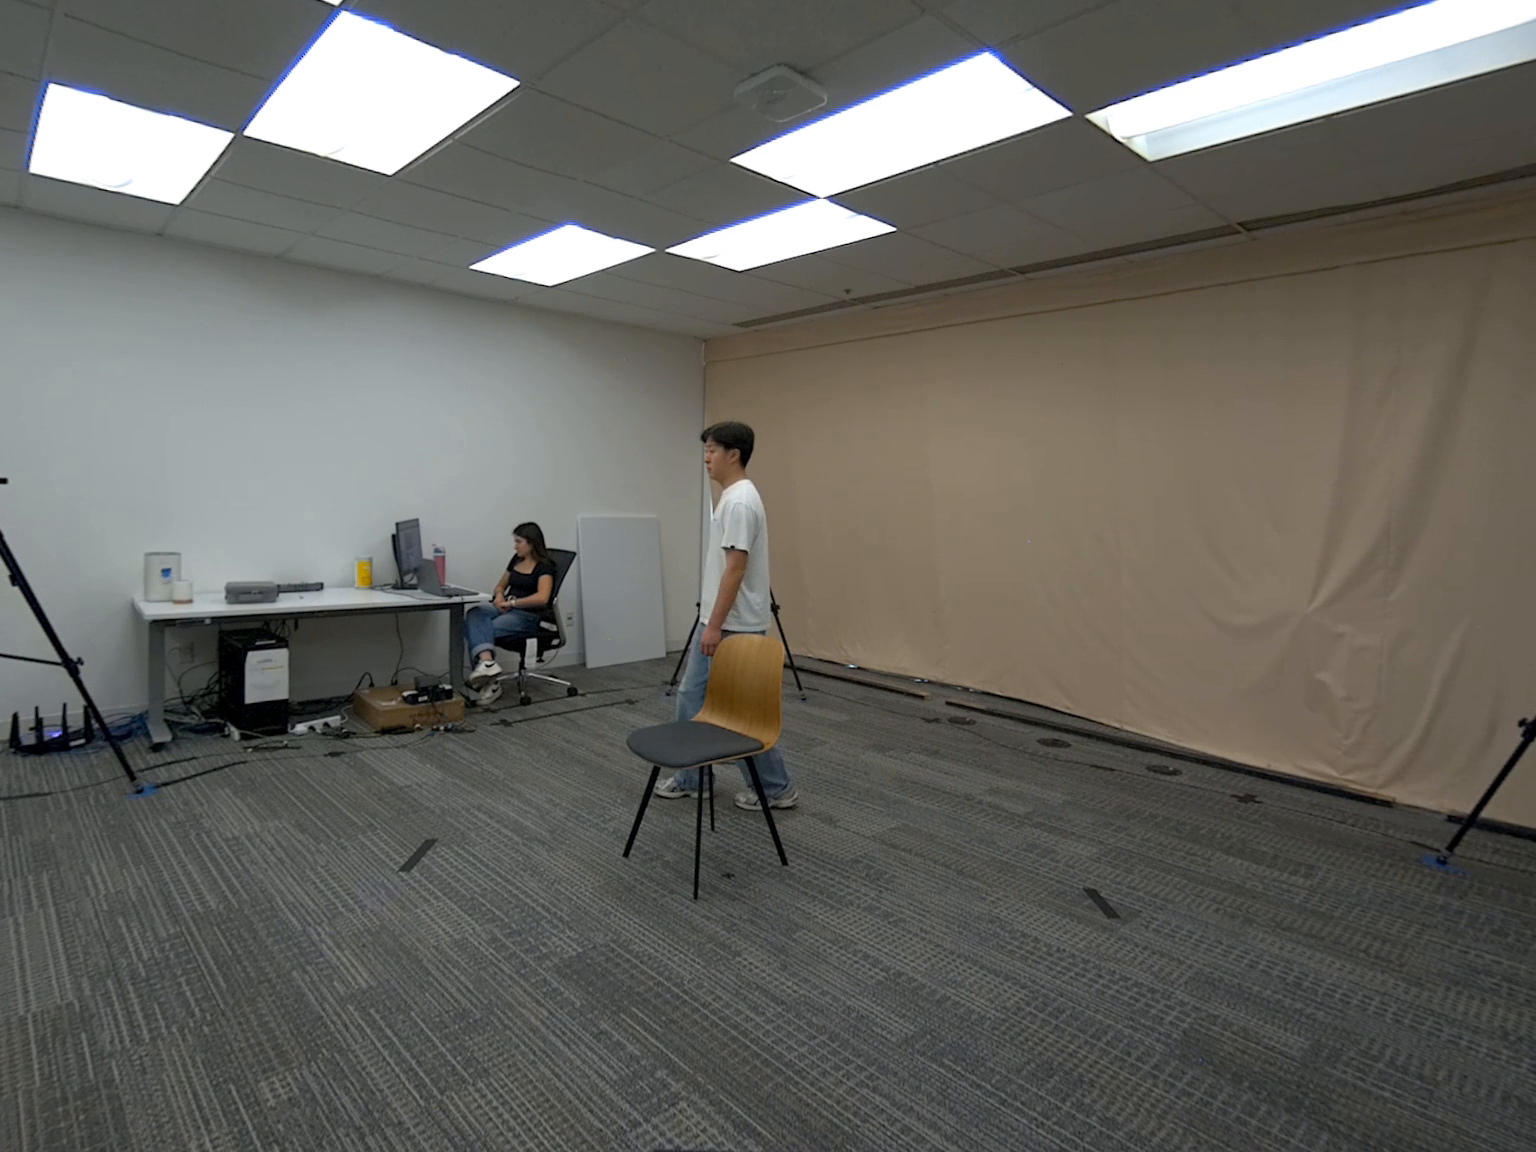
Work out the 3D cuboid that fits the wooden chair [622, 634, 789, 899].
[{"bbox_3d":[-0.243,0.673,3.186,0.510,0.877,0.490,4,1,-42],"label":"wooden chair"}]
